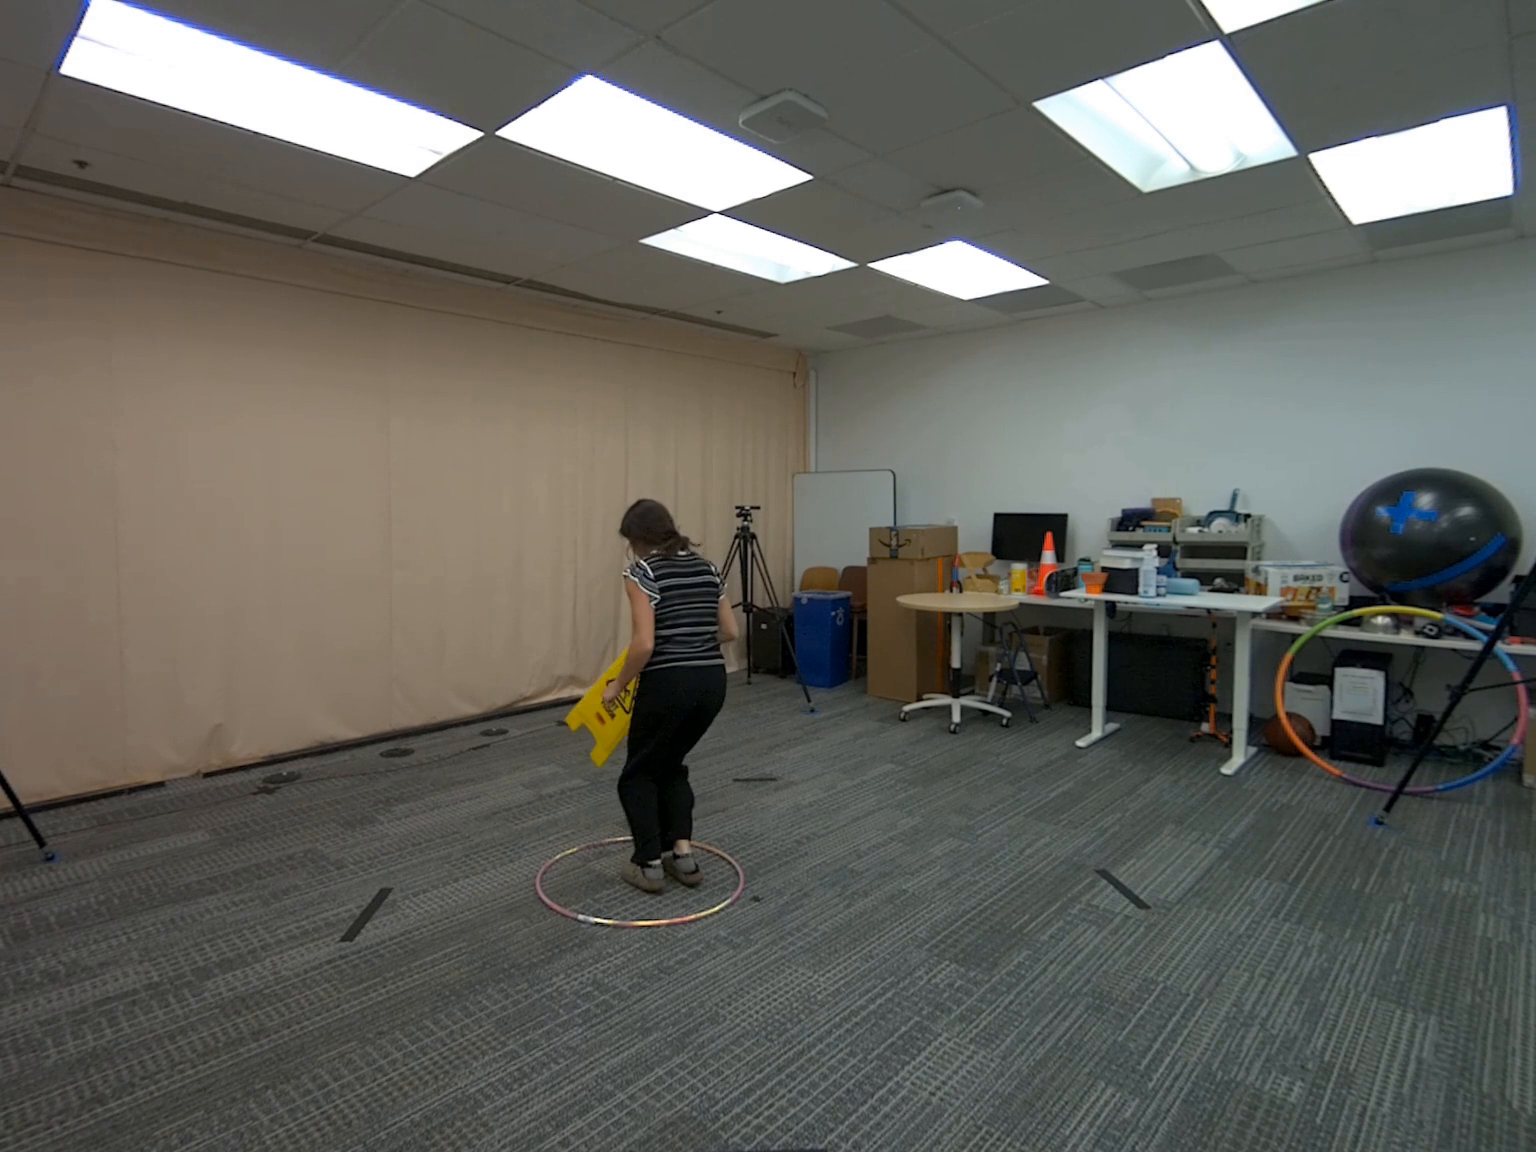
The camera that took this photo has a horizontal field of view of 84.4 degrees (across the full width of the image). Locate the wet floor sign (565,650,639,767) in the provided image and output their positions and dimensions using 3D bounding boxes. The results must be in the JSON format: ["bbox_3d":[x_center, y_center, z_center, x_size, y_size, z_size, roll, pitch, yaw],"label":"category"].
[{"bbox_3d":[-0.555,0.448,3.565,0.281,0.647,0.290,-7,48,-52],"label":"wet floor sign"}]
